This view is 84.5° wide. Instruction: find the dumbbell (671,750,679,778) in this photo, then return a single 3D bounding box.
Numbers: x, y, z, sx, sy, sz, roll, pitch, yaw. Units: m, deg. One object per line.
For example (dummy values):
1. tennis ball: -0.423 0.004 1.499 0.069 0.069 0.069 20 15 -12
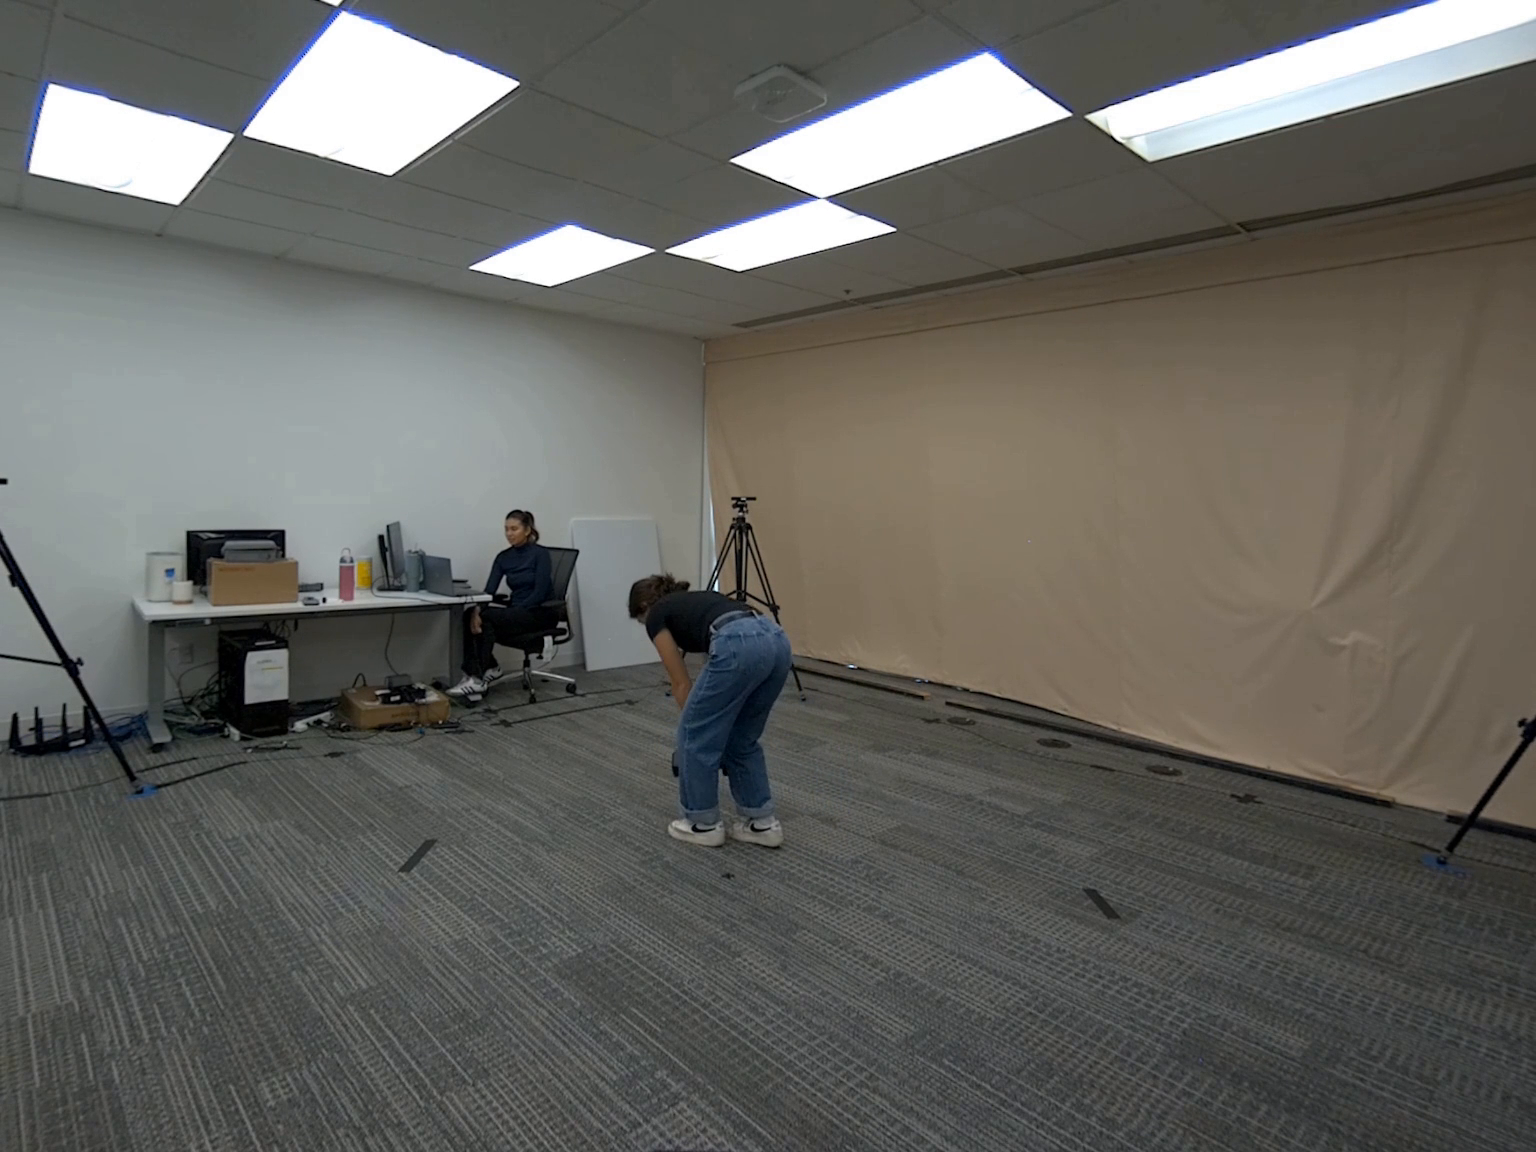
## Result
1. dumbbell: -0.271 0.795 3.586 0.295 0.125 0.106 -1 -33 5
